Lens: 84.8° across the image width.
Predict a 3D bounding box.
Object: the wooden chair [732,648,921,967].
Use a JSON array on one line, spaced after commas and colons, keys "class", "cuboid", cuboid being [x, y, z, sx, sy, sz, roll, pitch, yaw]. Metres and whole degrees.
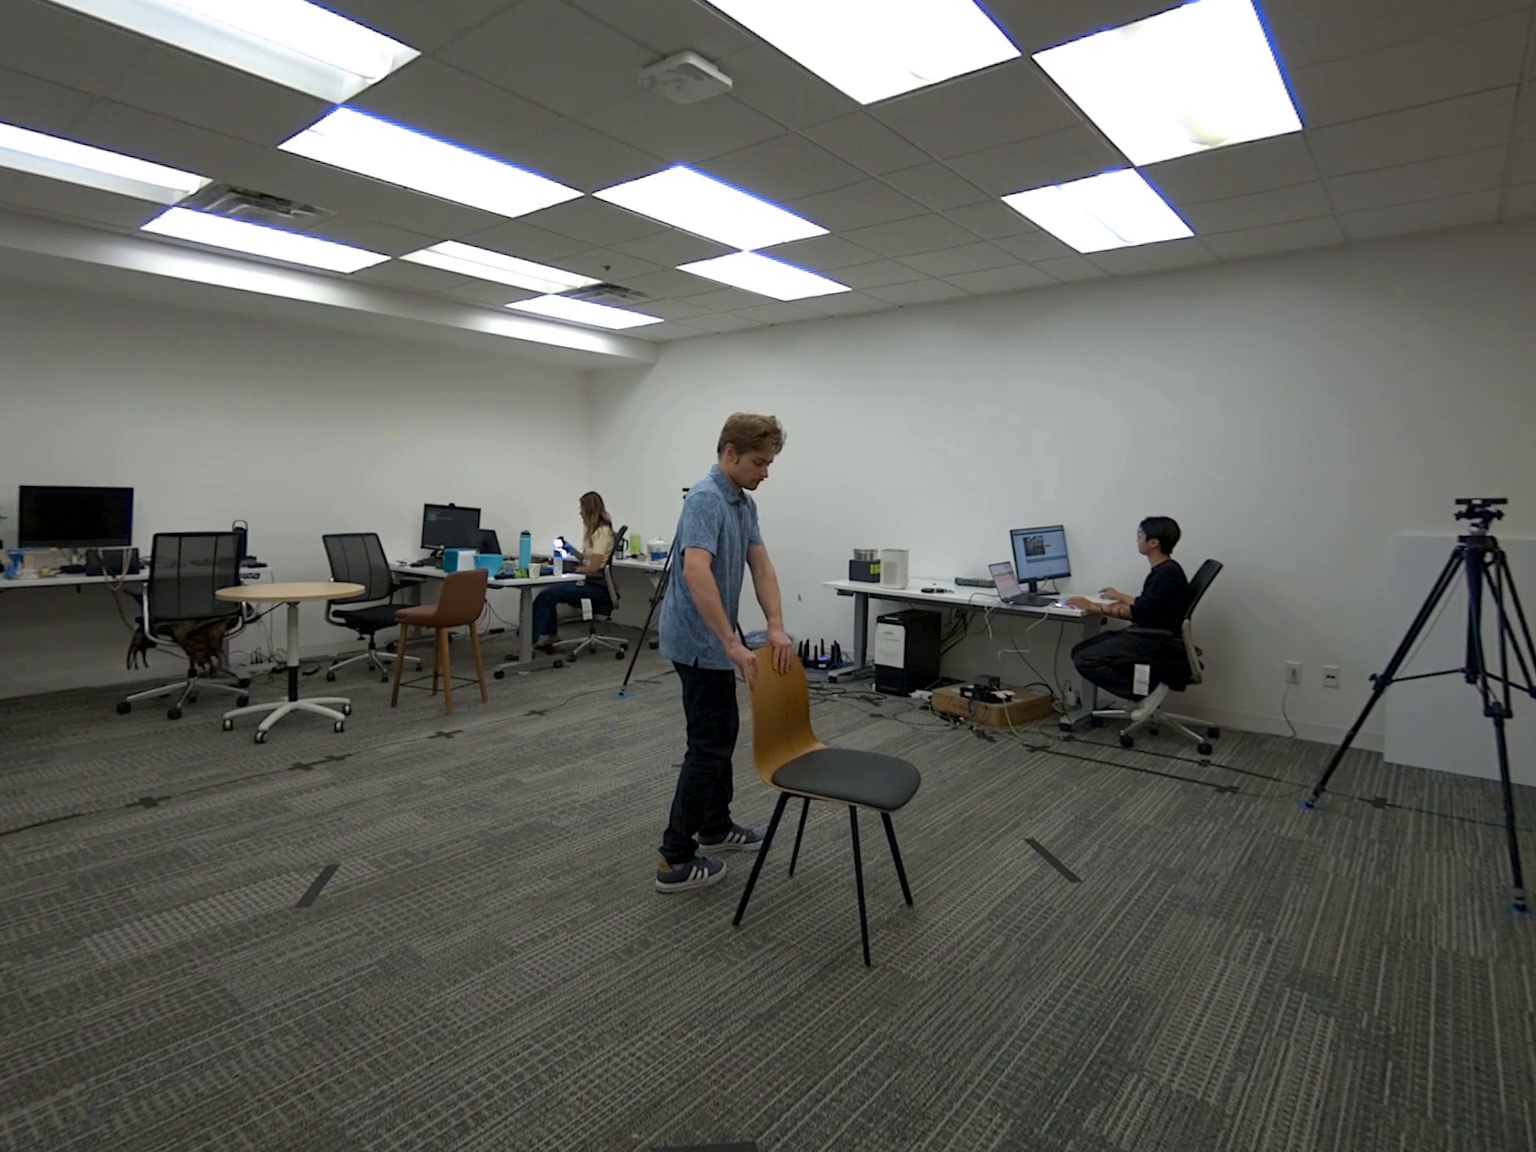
[{"class": "wooden chair", "cuboid": [0.204, 0.682, 2.761, 0.537, 0.877, 0.466, -2, 1, 28]}]
